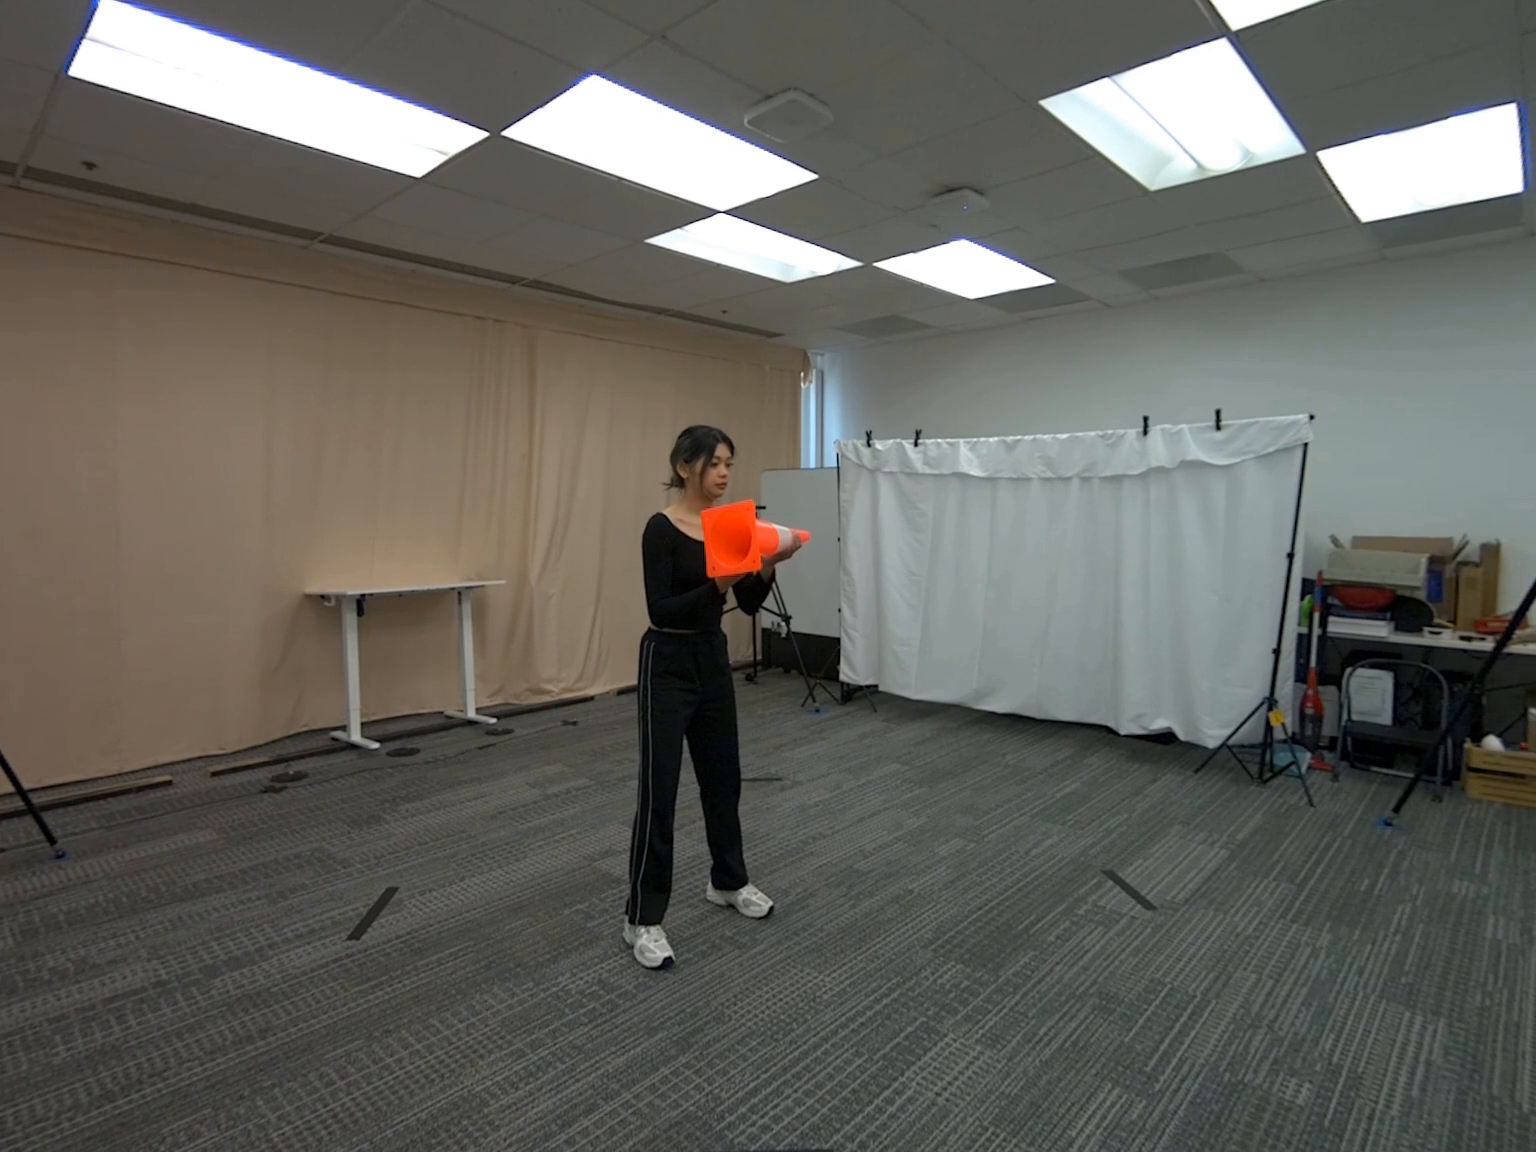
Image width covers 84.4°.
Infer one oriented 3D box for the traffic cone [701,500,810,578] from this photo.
[{"bbox_3d":[0.003,-0.113,2.547,0.209,0.205,0.372,-10,-3,38],"label":"traffic cone"}]
